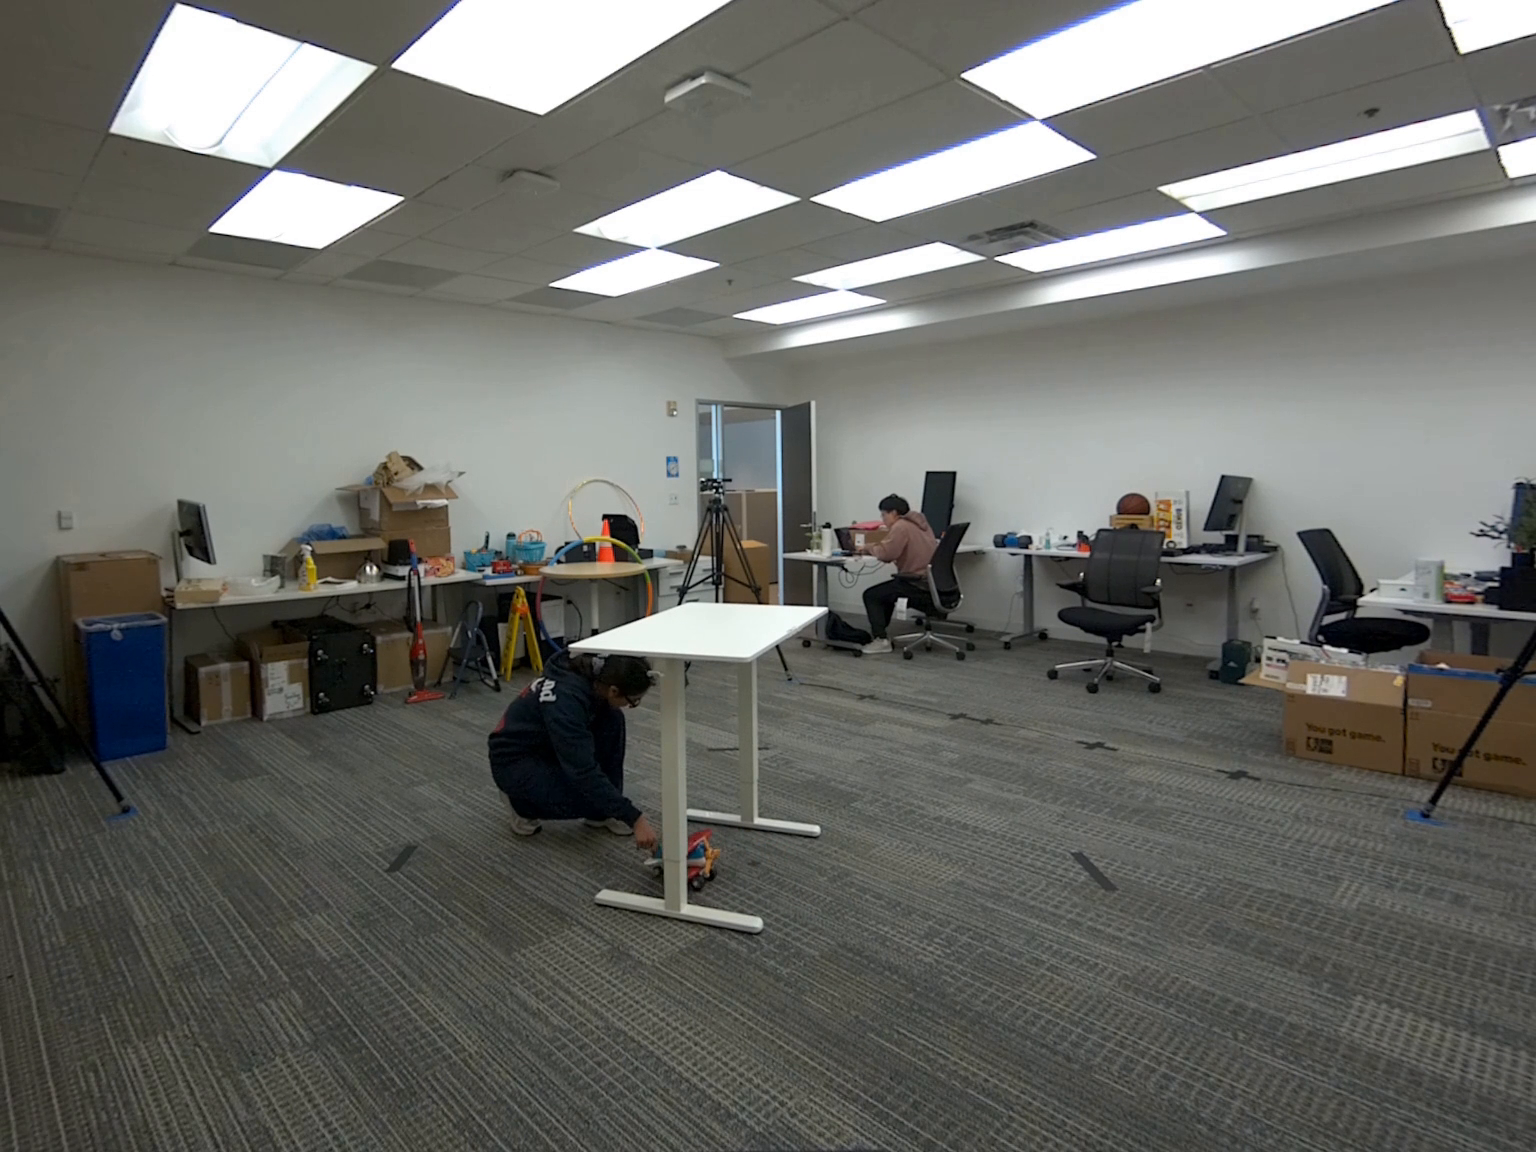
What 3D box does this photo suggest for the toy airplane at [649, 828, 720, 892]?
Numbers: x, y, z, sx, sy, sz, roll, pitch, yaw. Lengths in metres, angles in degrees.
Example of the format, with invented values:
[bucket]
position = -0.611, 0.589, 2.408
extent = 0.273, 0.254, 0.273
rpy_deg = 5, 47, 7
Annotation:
[toy airplane]
position = -0.306, 0.992, 2.956
extent = 0.259, 0.156, 0.252
rpy_deg = 1, 5, 0
